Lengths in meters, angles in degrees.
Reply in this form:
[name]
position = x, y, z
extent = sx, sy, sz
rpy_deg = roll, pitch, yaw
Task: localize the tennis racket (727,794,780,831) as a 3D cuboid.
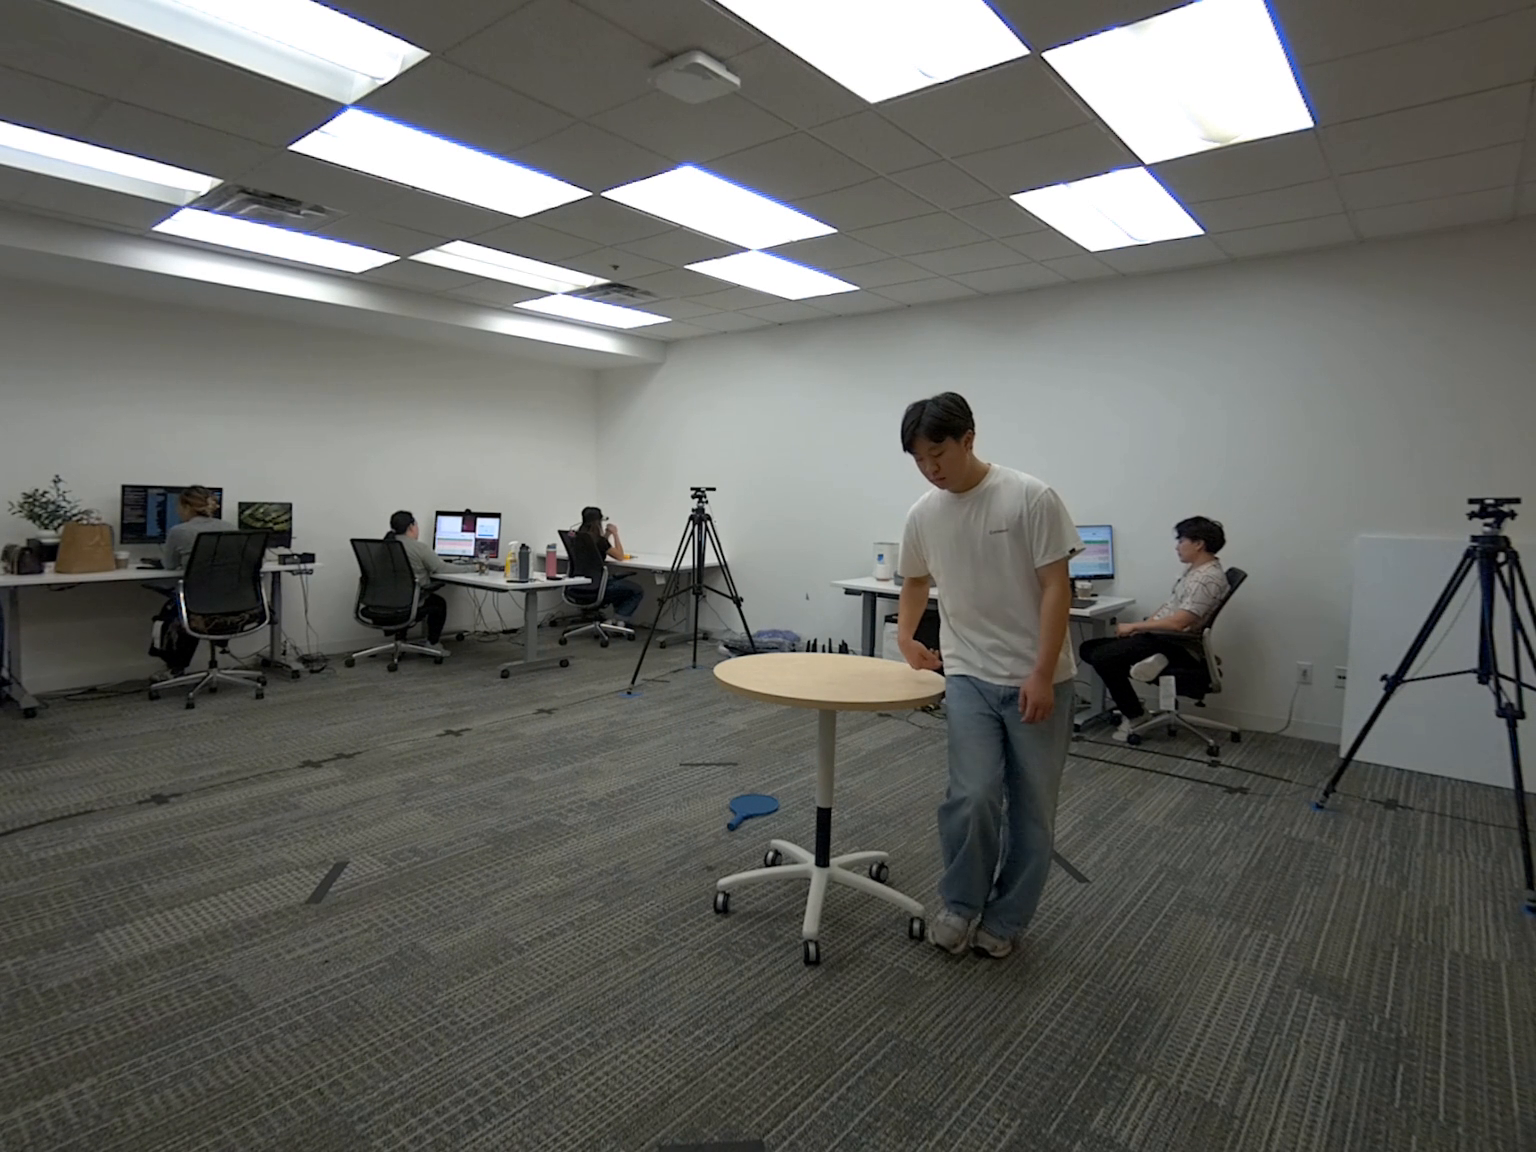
[tennis racket]
position = -0.097, 1.001, 3.655
extent = 0.218, 0.032, 0.424
rpy_deg = 2, 4, 20
